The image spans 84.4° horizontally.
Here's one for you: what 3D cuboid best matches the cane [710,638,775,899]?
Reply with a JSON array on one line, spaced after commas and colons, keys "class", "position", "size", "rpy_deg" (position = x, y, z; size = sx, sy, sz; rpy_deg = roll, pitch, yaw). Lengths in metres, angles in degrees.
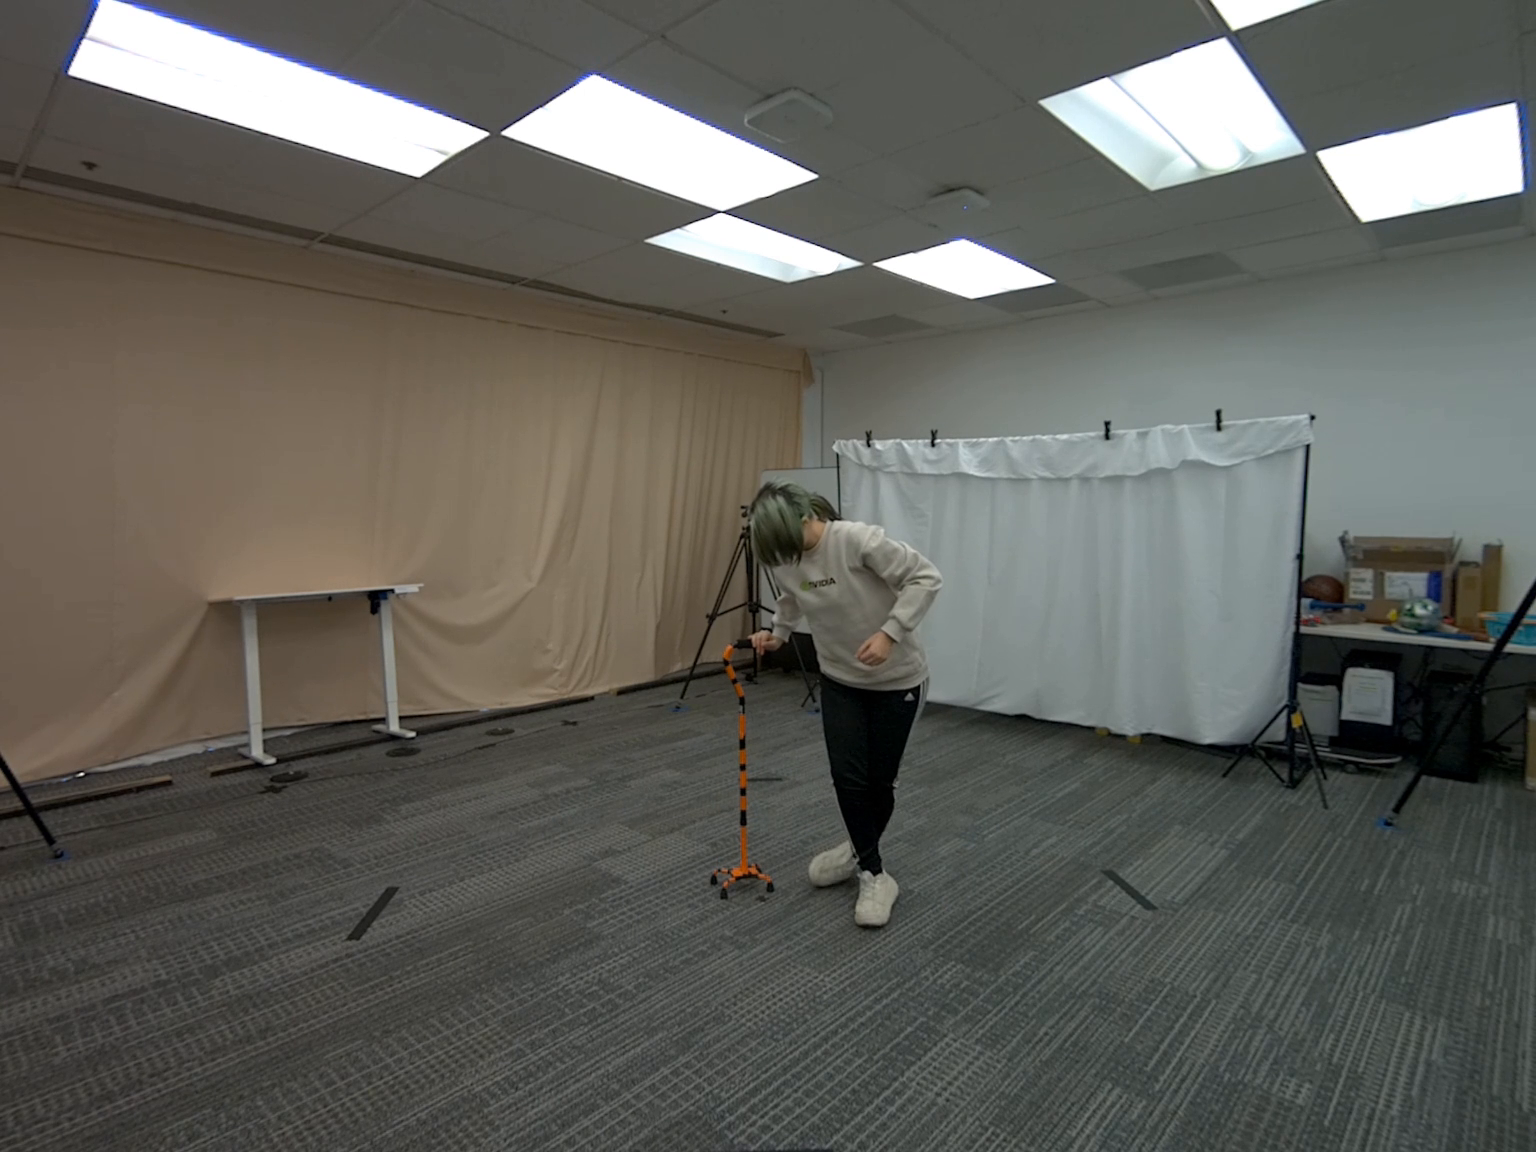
[{"class": "cane", "position": [-0.094, 0.689, 3.062], "size": [0.202, 0.907, 0.155], "rpy_deg": [-1, 2, -19]}]
